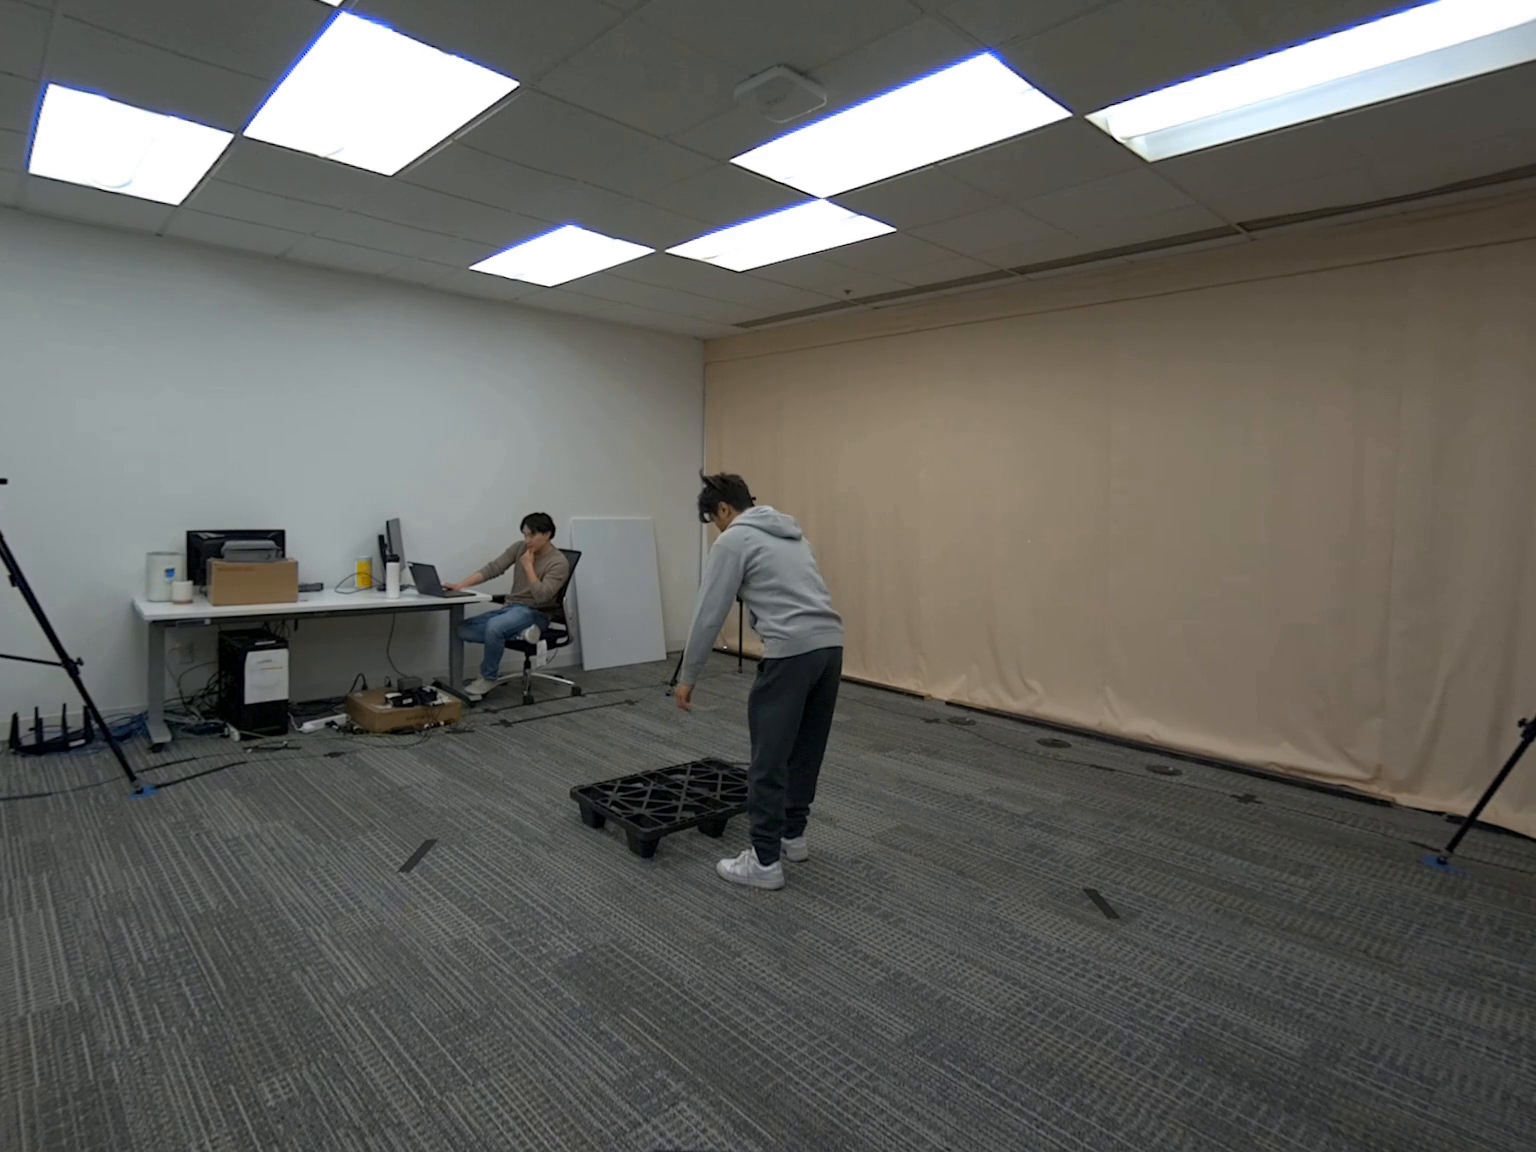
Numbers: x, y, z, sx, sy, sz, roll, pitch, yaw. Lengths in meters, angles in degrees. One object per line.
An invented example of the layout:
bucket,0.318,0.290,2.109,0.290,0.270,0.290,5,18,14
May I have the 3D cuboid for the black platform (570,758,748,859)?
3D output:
black platform,-0.364,0.988,3.643,0.787,0.143,0.621,-3,7,-41
